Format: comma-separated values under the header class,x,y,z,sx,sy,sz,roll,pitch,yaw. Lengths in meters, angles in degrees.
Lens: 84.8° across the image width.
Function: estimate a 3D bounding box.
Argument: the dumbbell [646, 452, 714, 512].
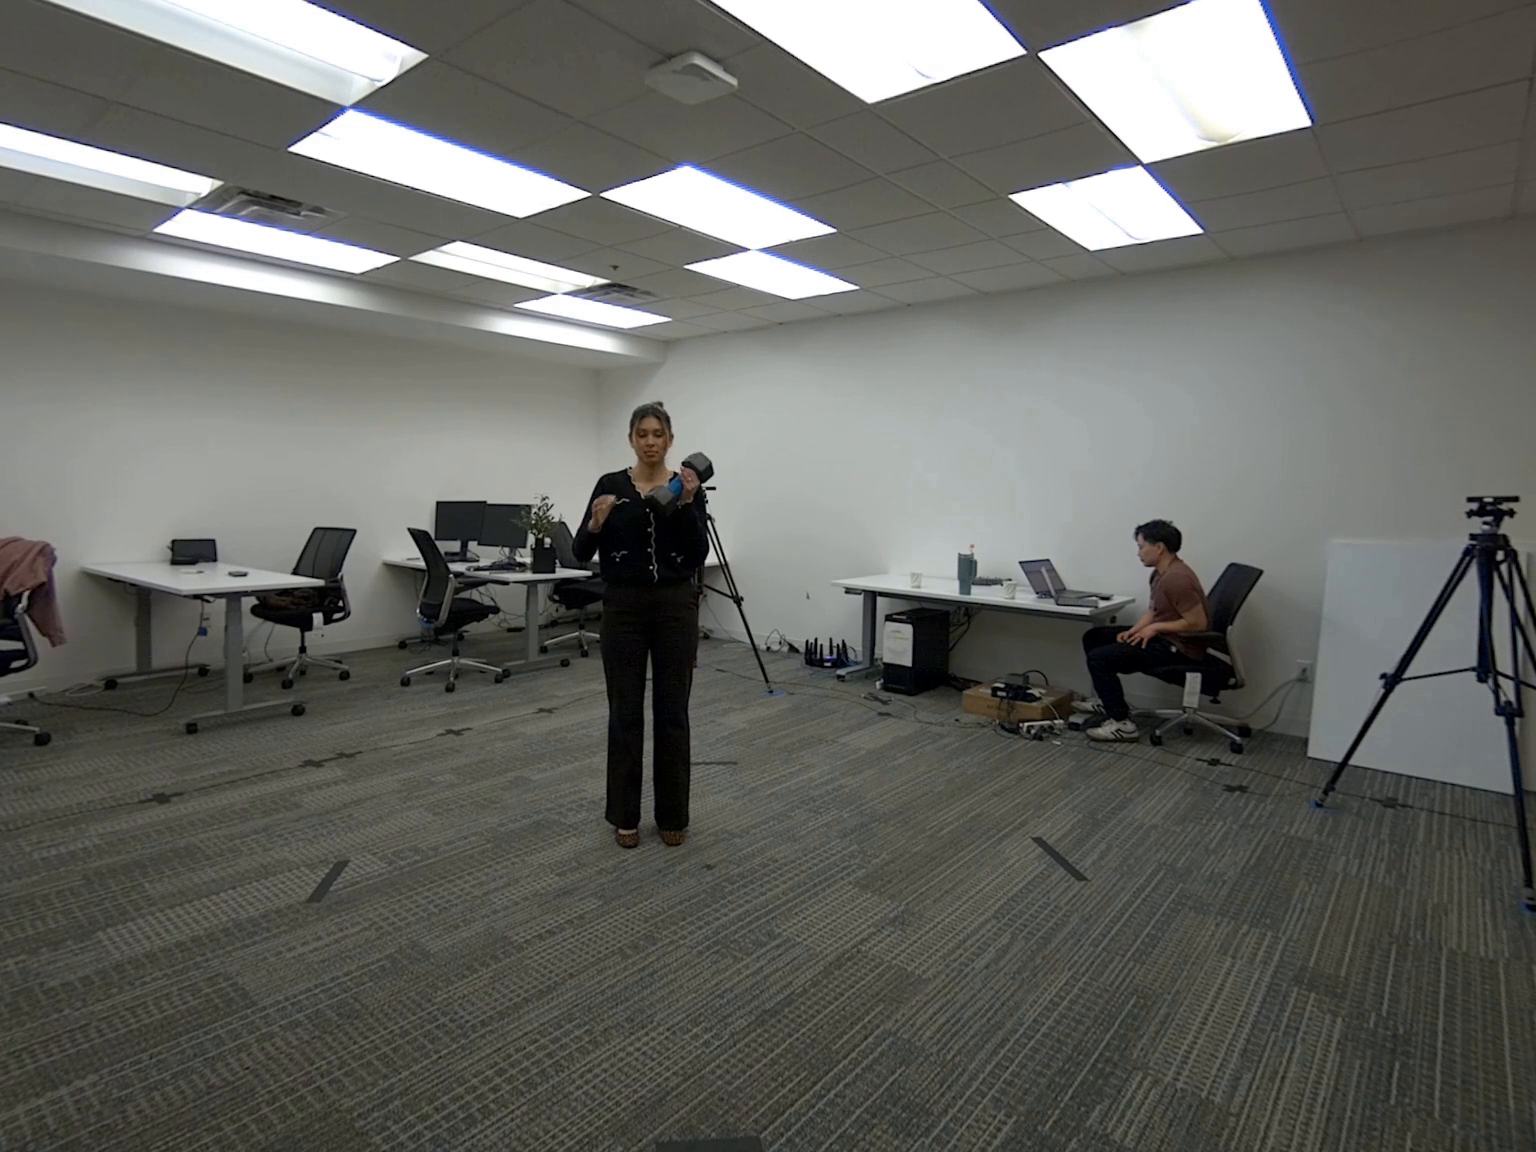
class,x,y,z,sx,sy,sz,roll,pitch,yaw
dumbbell,-0.344,-0.349,3.224,0.113,0.118,0.293,26,58,33
